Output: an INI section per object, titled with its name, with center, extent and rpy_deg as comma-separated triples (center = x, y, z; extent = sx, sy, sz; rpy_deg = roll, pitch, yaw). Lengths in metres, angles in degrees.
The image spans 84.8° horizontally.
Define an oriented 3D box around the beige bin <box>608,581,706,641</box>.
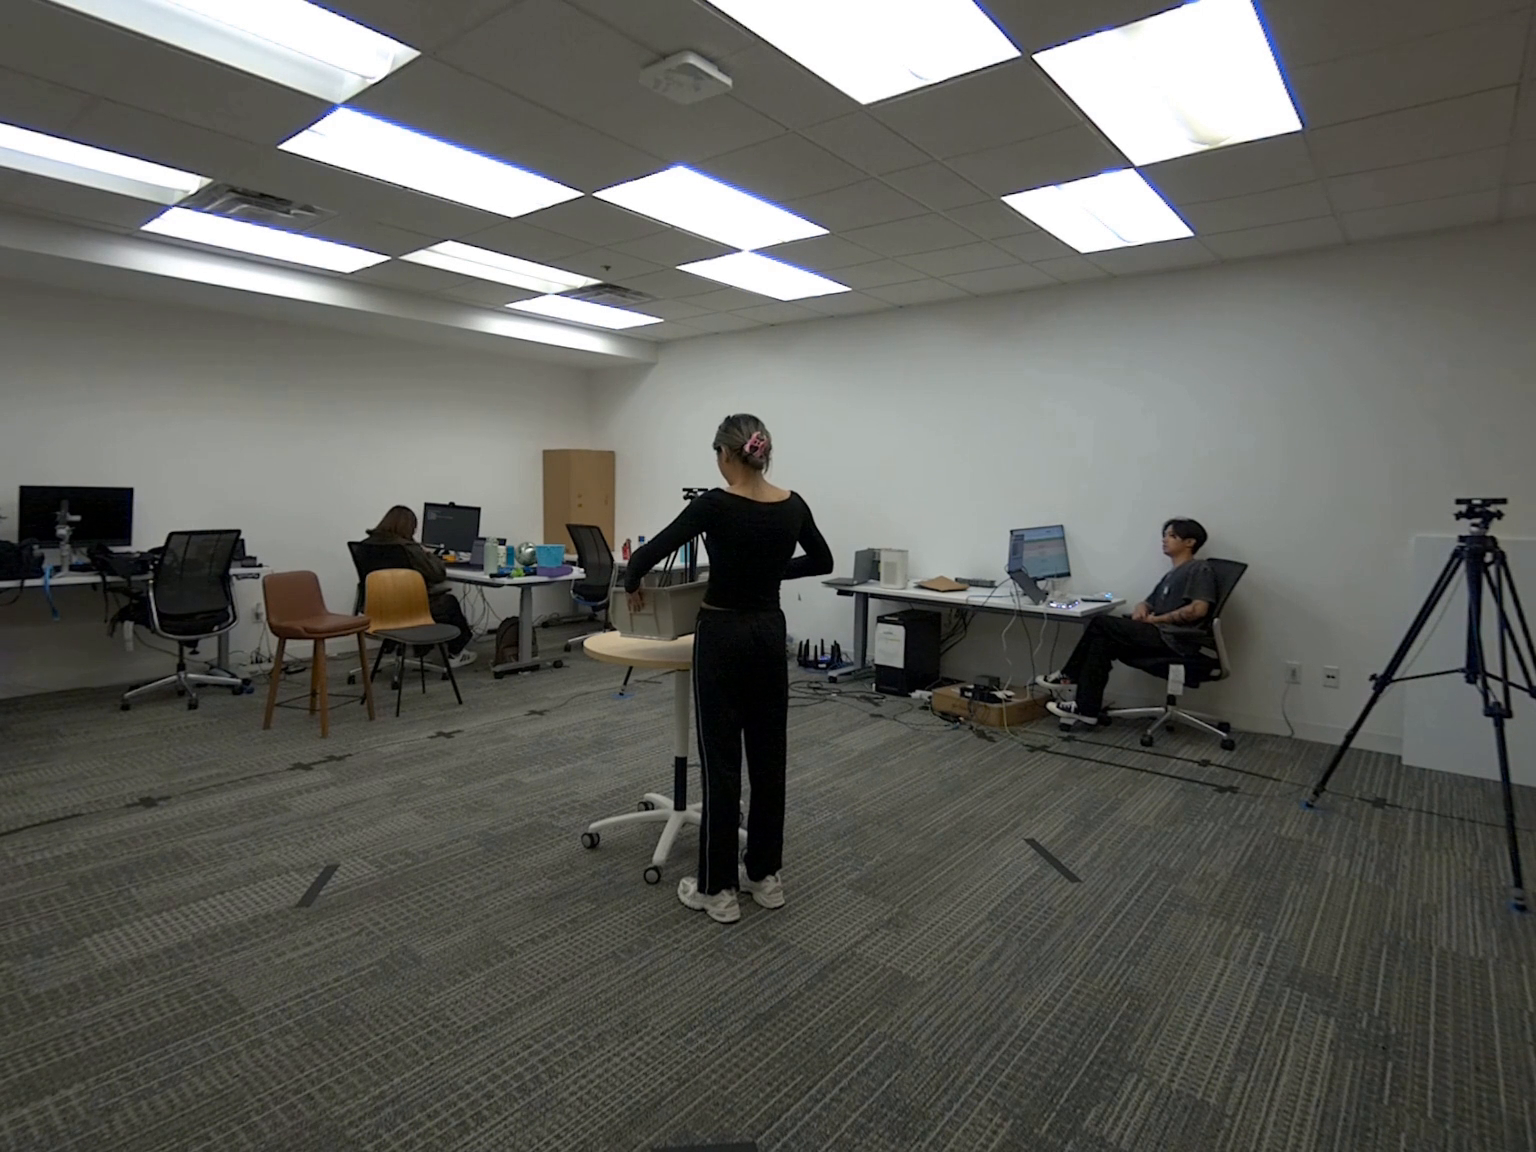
[beige bin]
center = -0.312, 0.099, 3.081
extent = 0.411, 0.188, 0.389
rpy_deg = -9, 6, -40
